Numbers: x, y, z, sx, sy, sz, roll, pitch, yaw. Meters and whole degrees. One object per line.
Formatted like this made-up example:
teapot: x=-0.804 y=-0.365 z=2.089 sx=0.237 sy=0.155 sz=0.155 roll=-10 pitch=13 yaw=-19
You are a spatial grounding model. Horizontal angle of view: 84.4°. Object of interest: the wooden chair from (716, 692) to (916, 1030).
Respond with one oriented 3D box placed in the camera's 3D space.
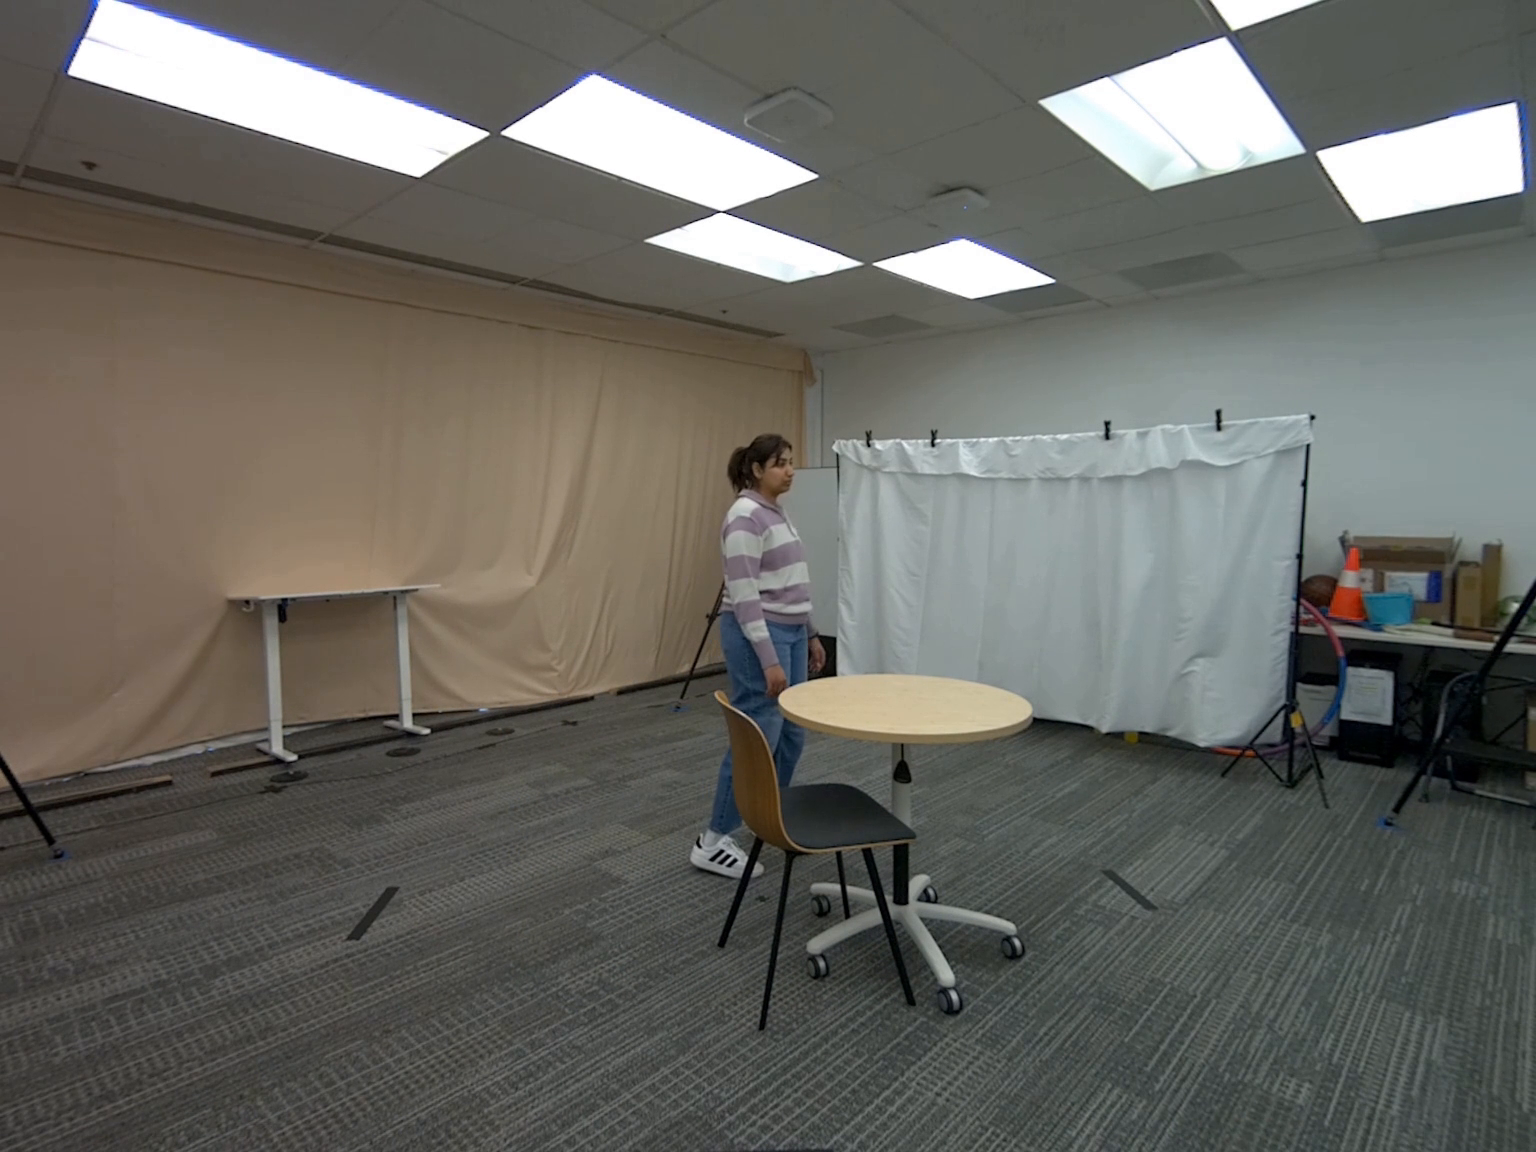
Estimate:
wooden chair: x=0.138 y=0.757 z=2.481 sx=0.515 sy=0.875 sz=0.487 roll=-5 pitch=4 yaw=-17
